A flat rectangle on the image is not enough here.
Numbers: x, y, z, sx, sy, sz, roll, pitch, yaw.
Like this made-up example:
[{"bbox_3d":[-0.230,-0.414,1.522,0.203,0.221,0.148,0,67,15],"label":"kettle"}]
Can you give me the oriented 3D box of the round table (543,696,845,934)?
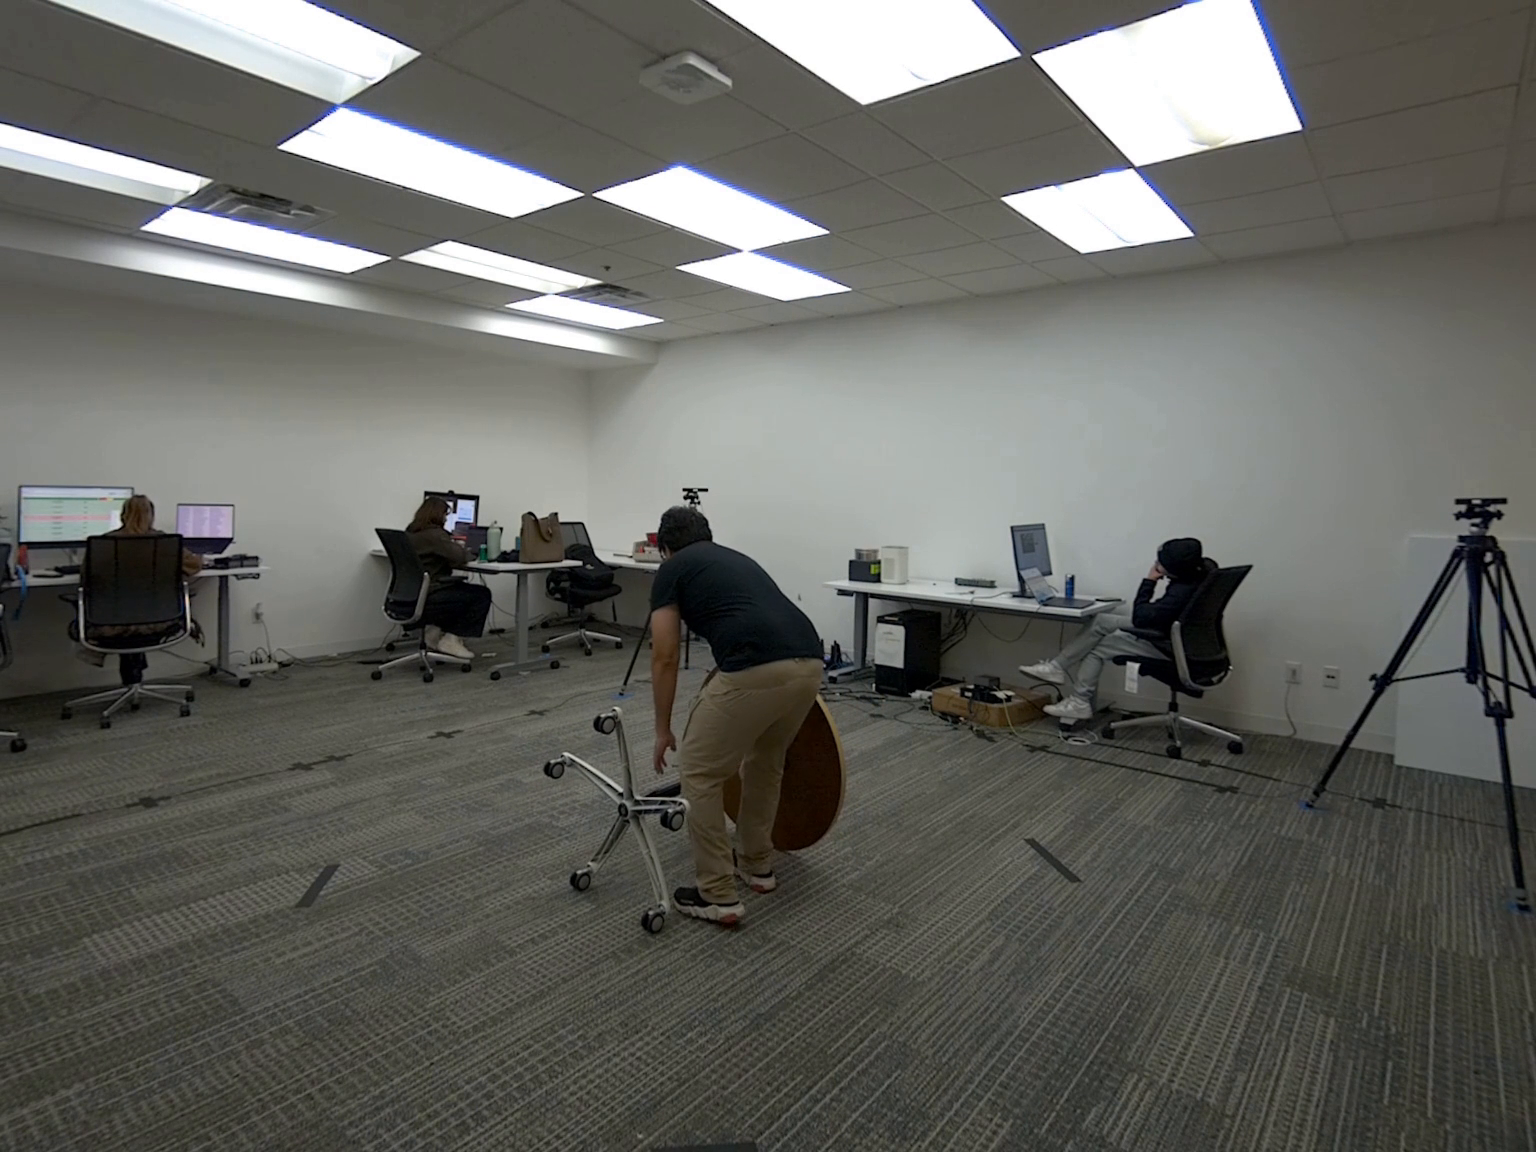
[{"bbox_3d":[-0.285,0.717,3.031,0.812,0.780,0.765,5,9,43],"label":"round table"}]
